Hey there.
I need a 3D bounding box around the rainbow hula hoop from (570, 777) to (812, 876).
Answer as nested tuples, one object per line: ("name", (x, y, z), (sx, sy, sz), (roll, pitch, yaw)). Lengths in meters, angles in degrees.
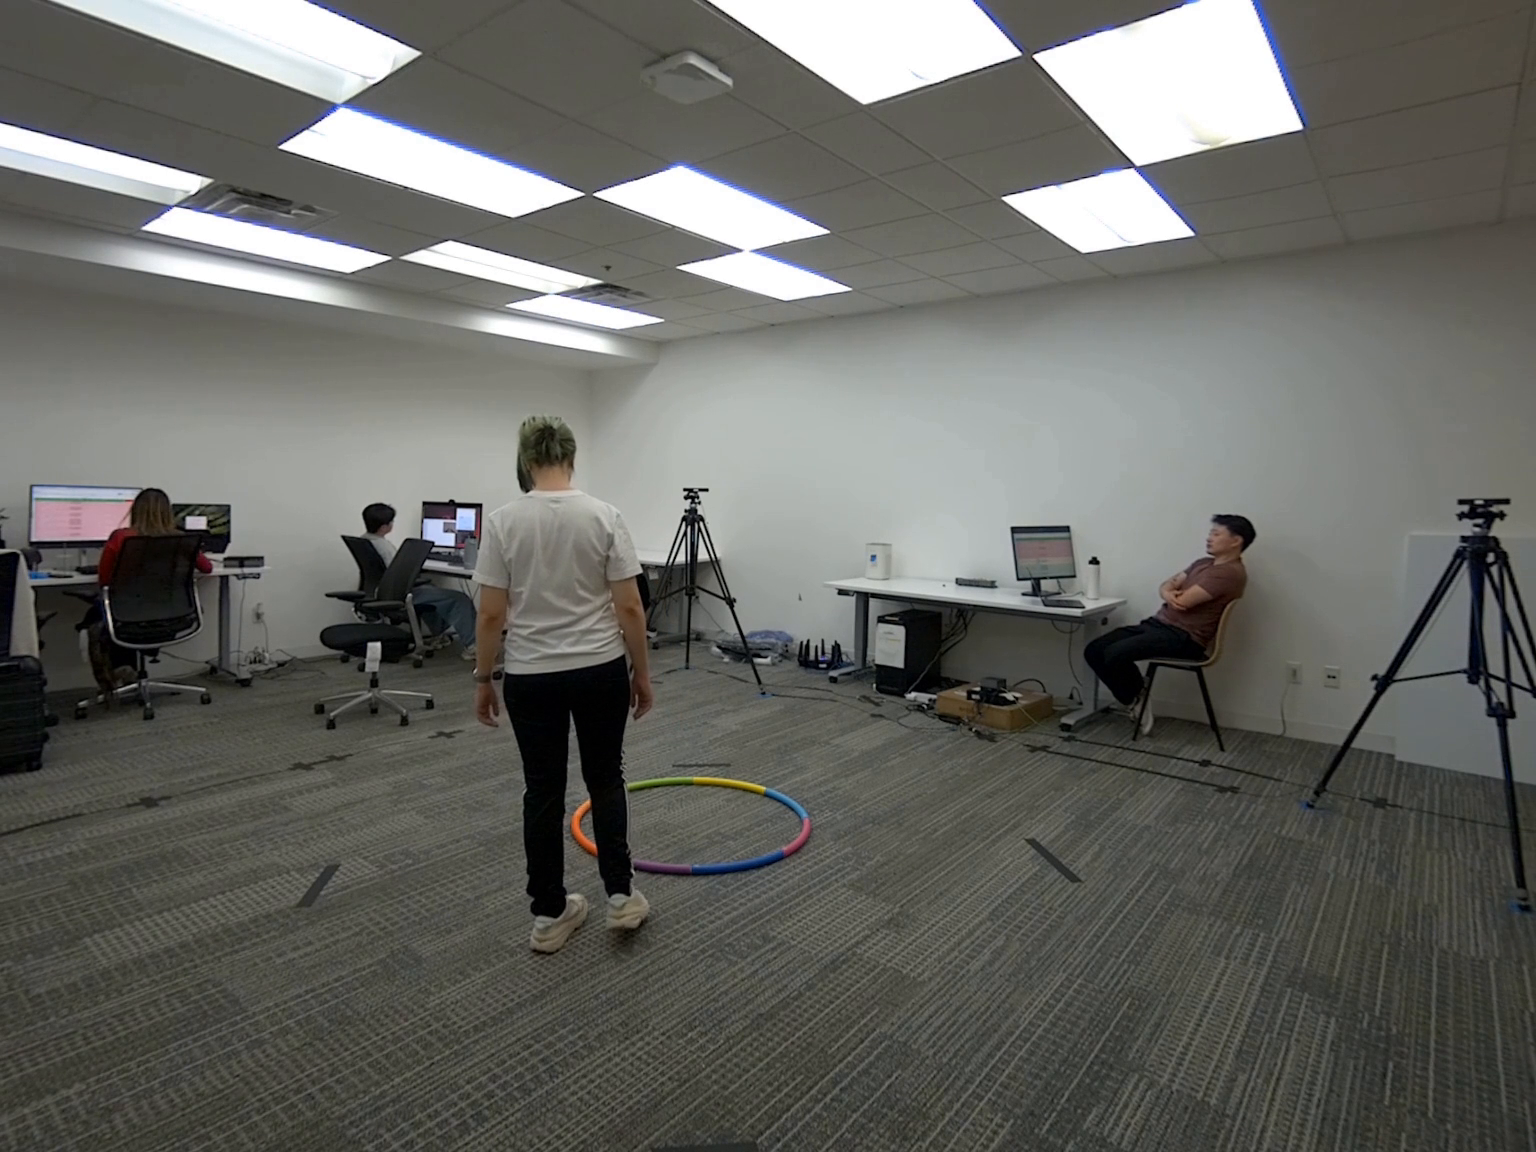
("rainbow hula hoop", (-0.326, 0.996, 3.528), (0.978, 0.035, 0.984), (1, 6, -2))
